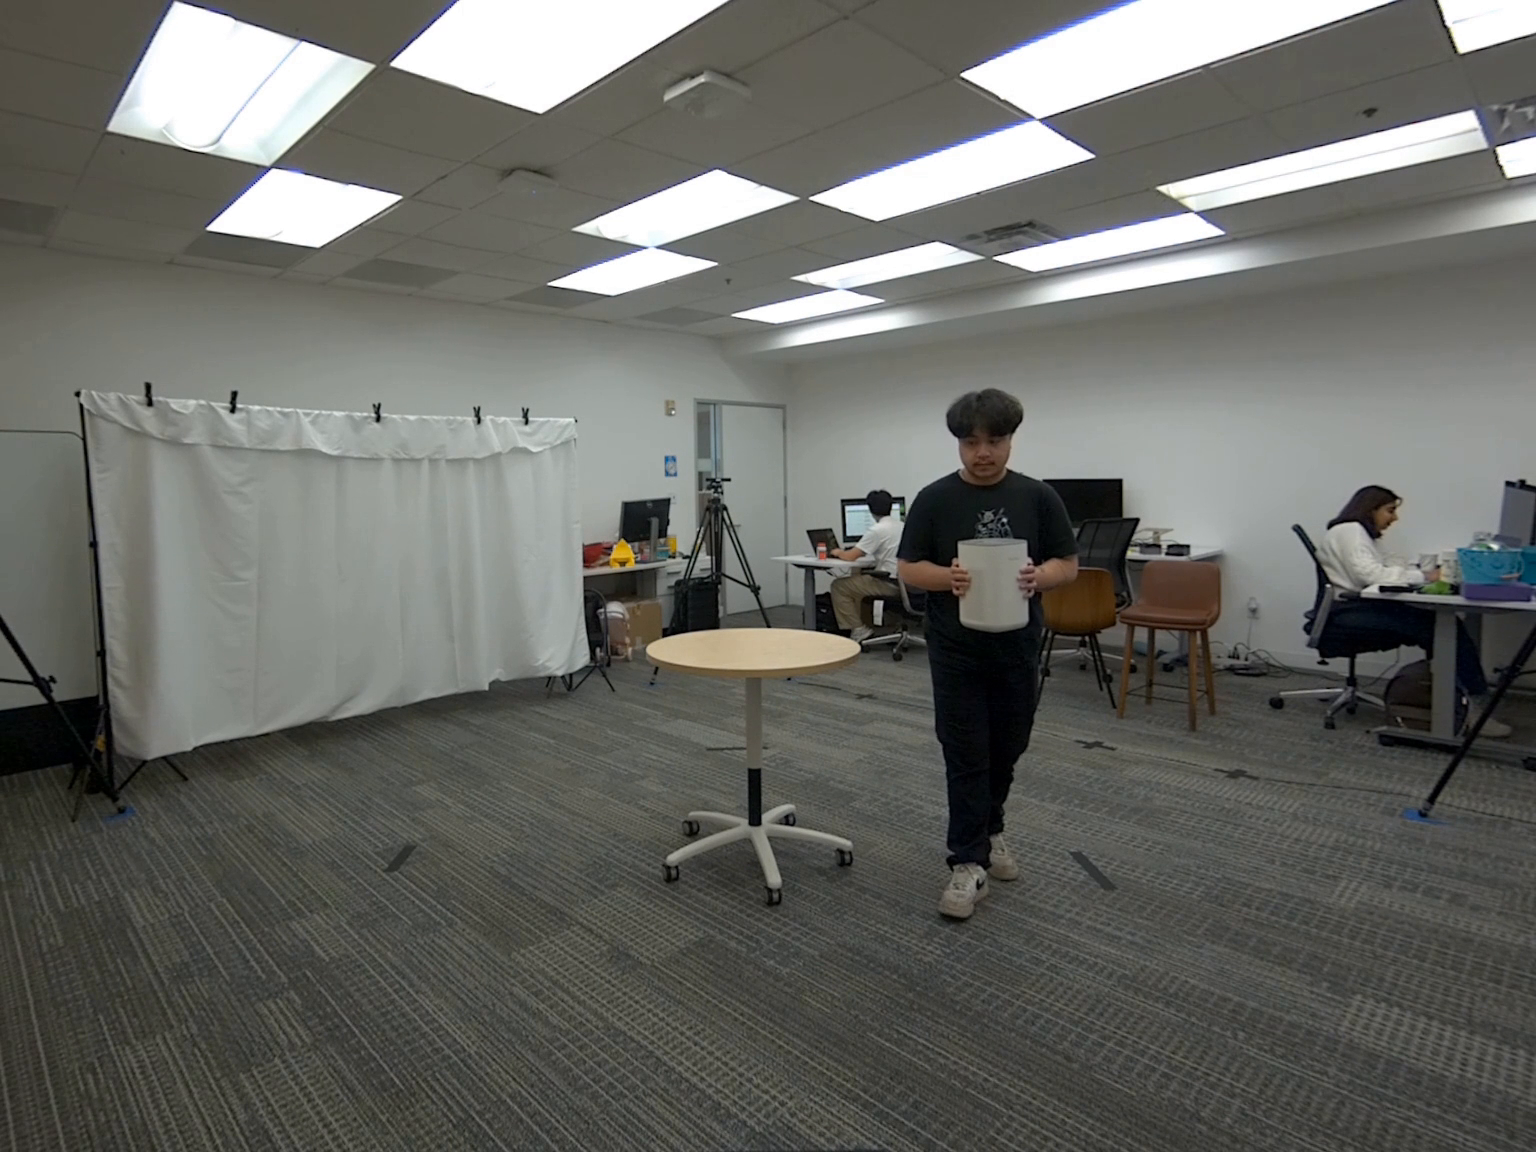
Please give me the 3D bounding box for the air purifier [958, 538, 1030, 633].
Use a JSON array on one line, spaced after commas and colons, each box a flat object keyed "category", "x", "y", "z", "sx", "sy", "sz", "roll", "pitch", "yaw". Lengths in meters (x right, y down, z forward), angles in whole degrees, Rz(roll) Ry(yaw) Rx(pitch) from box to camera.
[{"category": "air purifier", "x": 0.673, "y": 0.028, "z": 2.601, "sx": 0.167, "sy": 0.264, "sz": 0.176, "roll": -8, "pitch": 7, "yaw": -34}]
